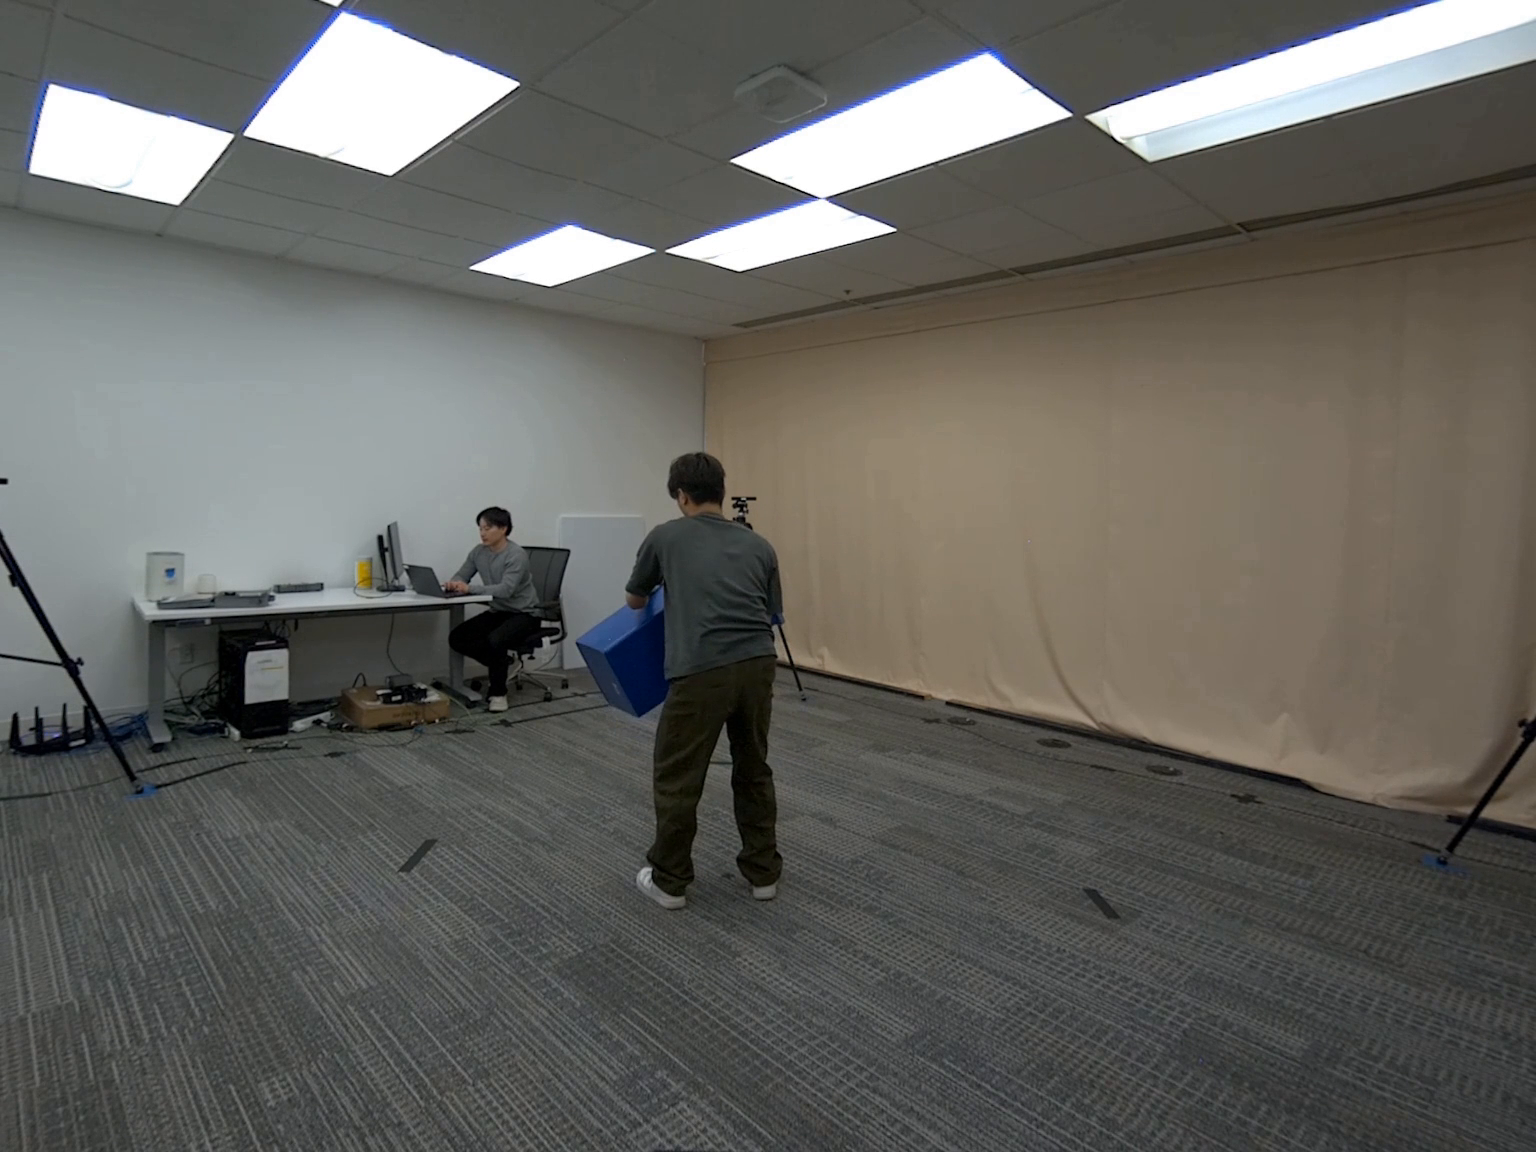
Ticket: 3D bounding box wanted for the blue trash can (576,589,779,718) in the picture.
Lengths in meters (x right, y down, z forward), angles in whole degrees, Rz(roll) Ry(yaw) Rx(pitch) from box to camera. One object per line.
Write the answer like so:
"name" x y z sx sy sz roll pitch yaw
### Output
"blue trash can" -0.358 0.216 3.342 0.710 0.368 0.386 -36 20 -24
